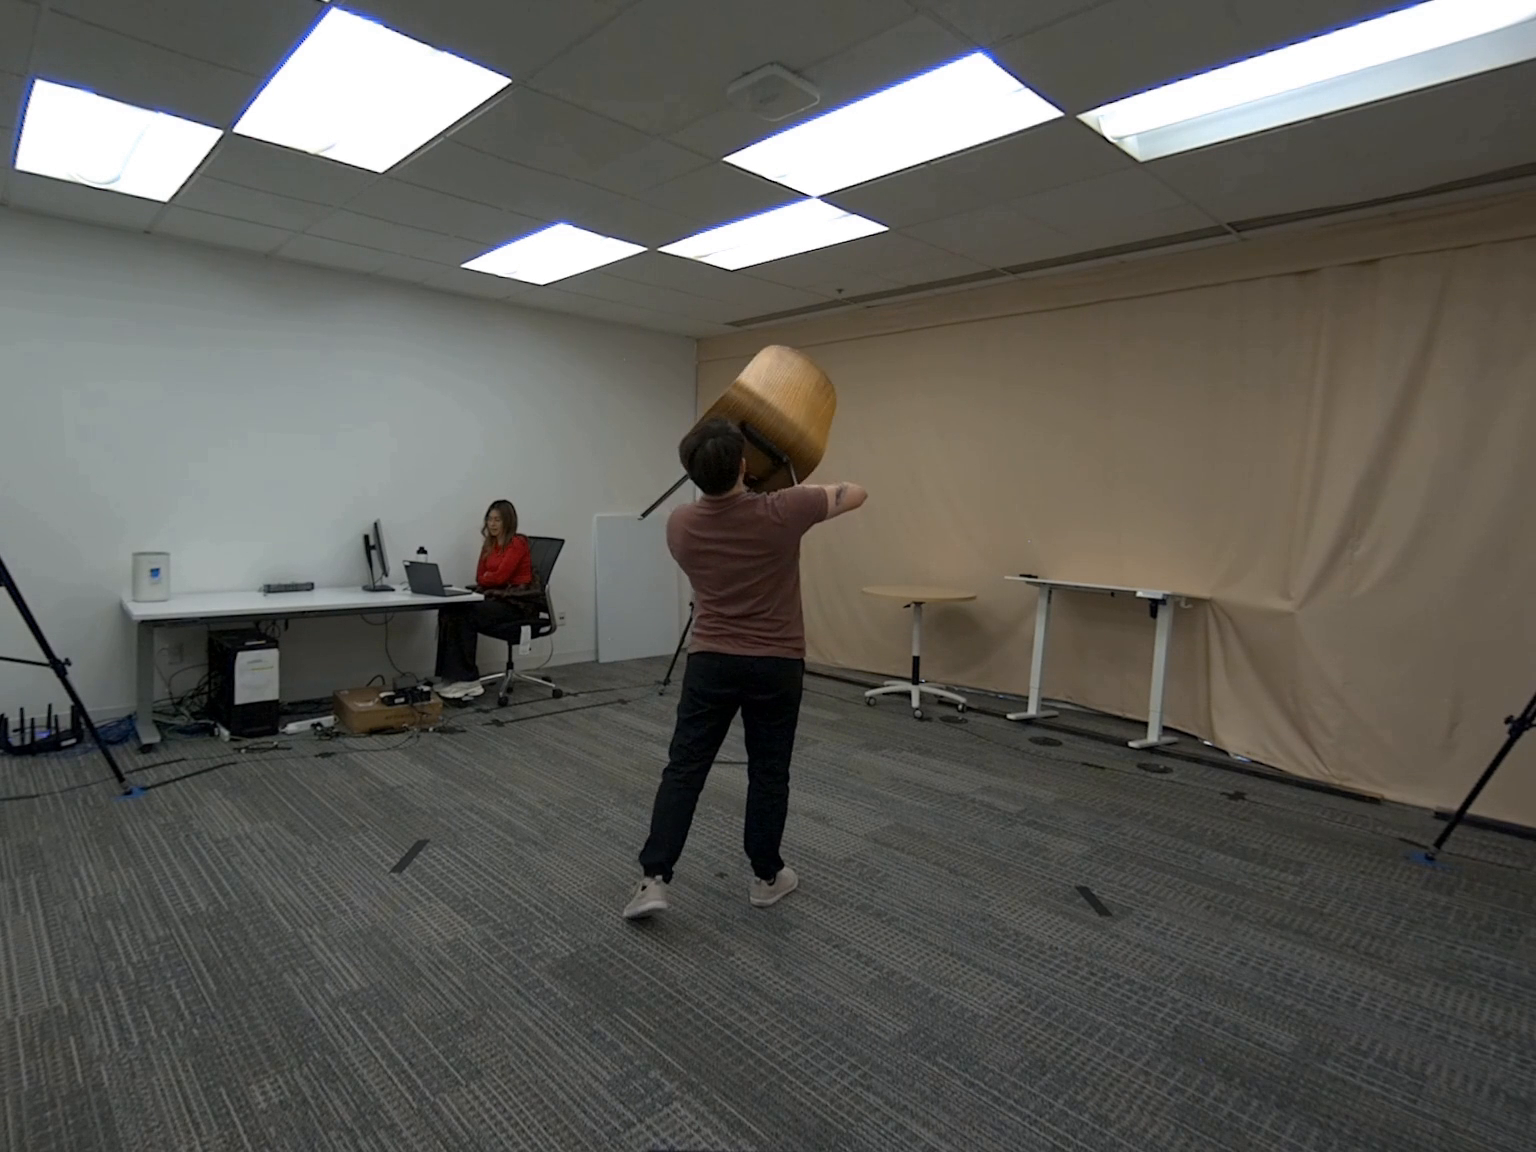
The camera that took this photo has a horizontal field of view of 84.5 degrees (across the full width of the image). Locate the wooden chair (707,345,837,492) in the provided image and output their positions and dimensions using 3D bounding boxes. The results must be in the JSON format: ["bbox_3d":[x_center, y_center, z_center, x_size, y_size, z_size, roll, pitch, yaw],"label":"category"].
[{"bbox_3d":[-0.088,-0.456,3.305,0.471,0.887,0.525,37,-46,-16],"label":"wooden chair"}]
